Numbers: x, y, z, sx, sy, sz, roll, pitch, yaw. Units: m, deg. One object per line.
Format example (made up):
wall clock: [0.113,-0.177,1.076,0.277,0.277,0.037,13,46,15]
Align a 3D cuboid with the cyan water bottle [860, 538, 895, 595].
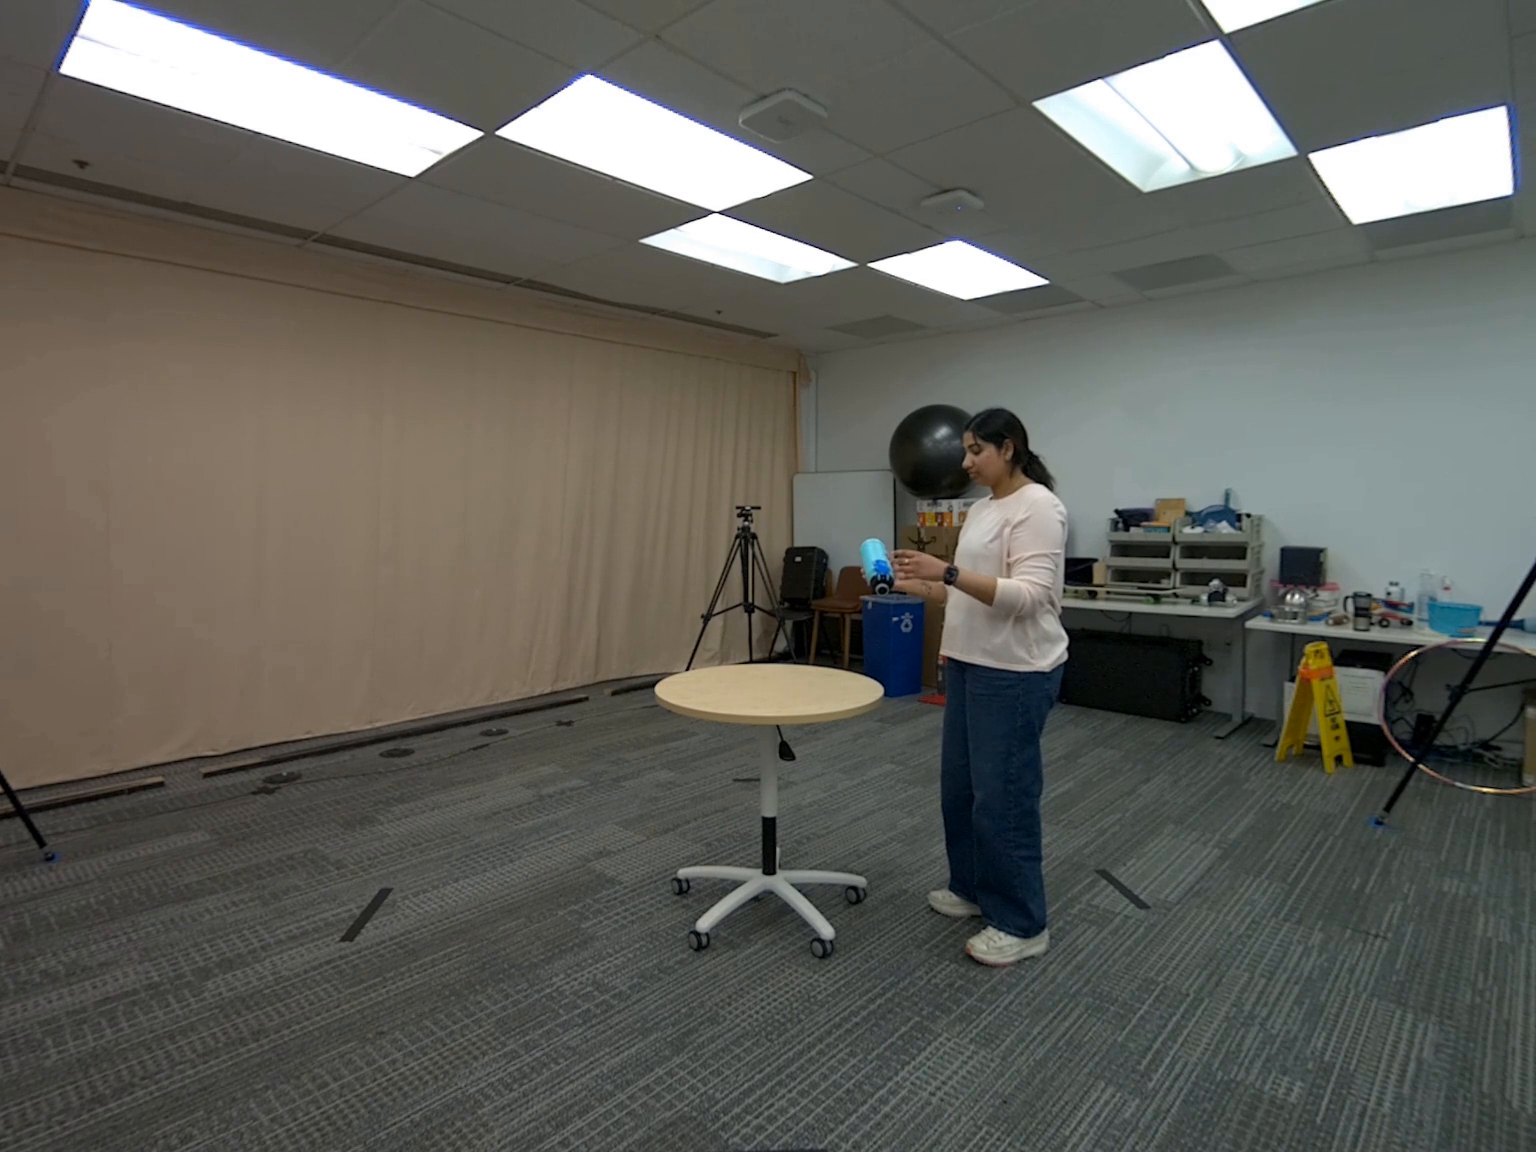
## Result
cyan water bottle: [0.378,-0.028,2.819,0.093,0.091,0.286,0,26,4]
